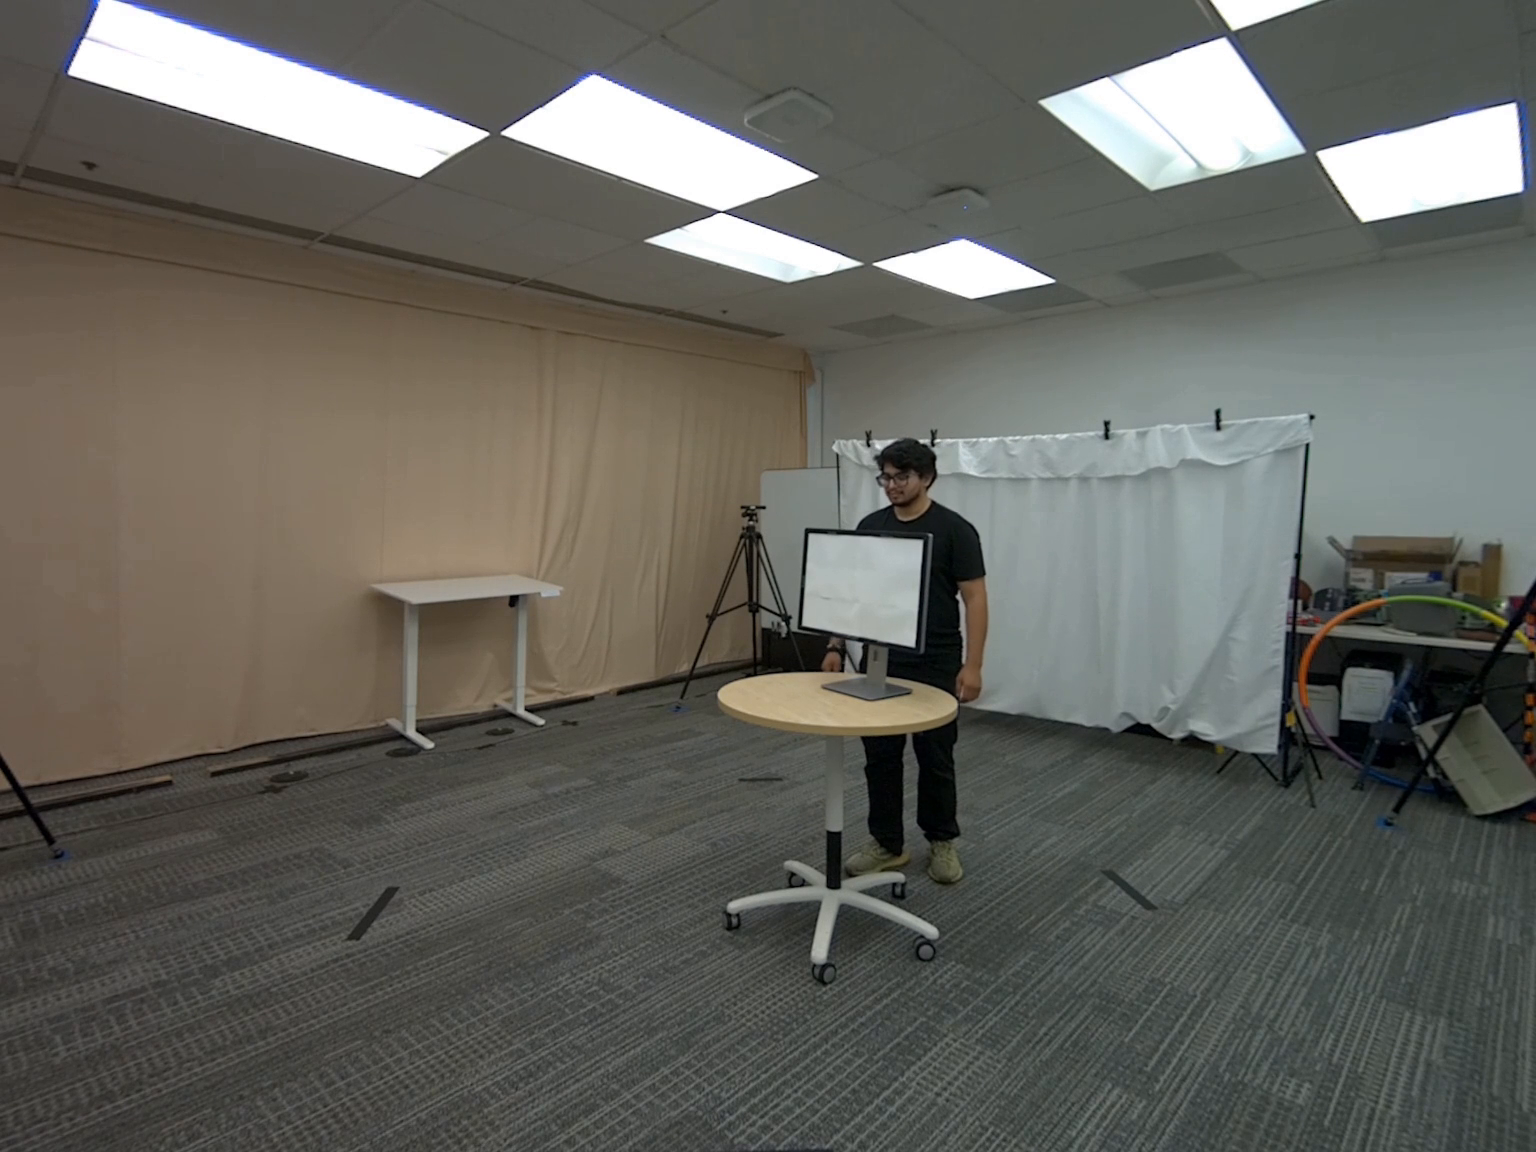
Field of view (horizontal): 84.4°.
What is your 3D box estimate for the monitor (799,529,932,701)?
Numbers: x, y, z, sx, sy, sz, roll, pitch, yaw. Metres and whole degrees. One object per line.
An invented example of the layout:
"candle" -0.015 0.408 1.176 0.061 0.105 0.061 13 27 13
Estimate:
"monitor" 0.358 0.120 2.807 0.204 0.553 0.584 1 3 -38
